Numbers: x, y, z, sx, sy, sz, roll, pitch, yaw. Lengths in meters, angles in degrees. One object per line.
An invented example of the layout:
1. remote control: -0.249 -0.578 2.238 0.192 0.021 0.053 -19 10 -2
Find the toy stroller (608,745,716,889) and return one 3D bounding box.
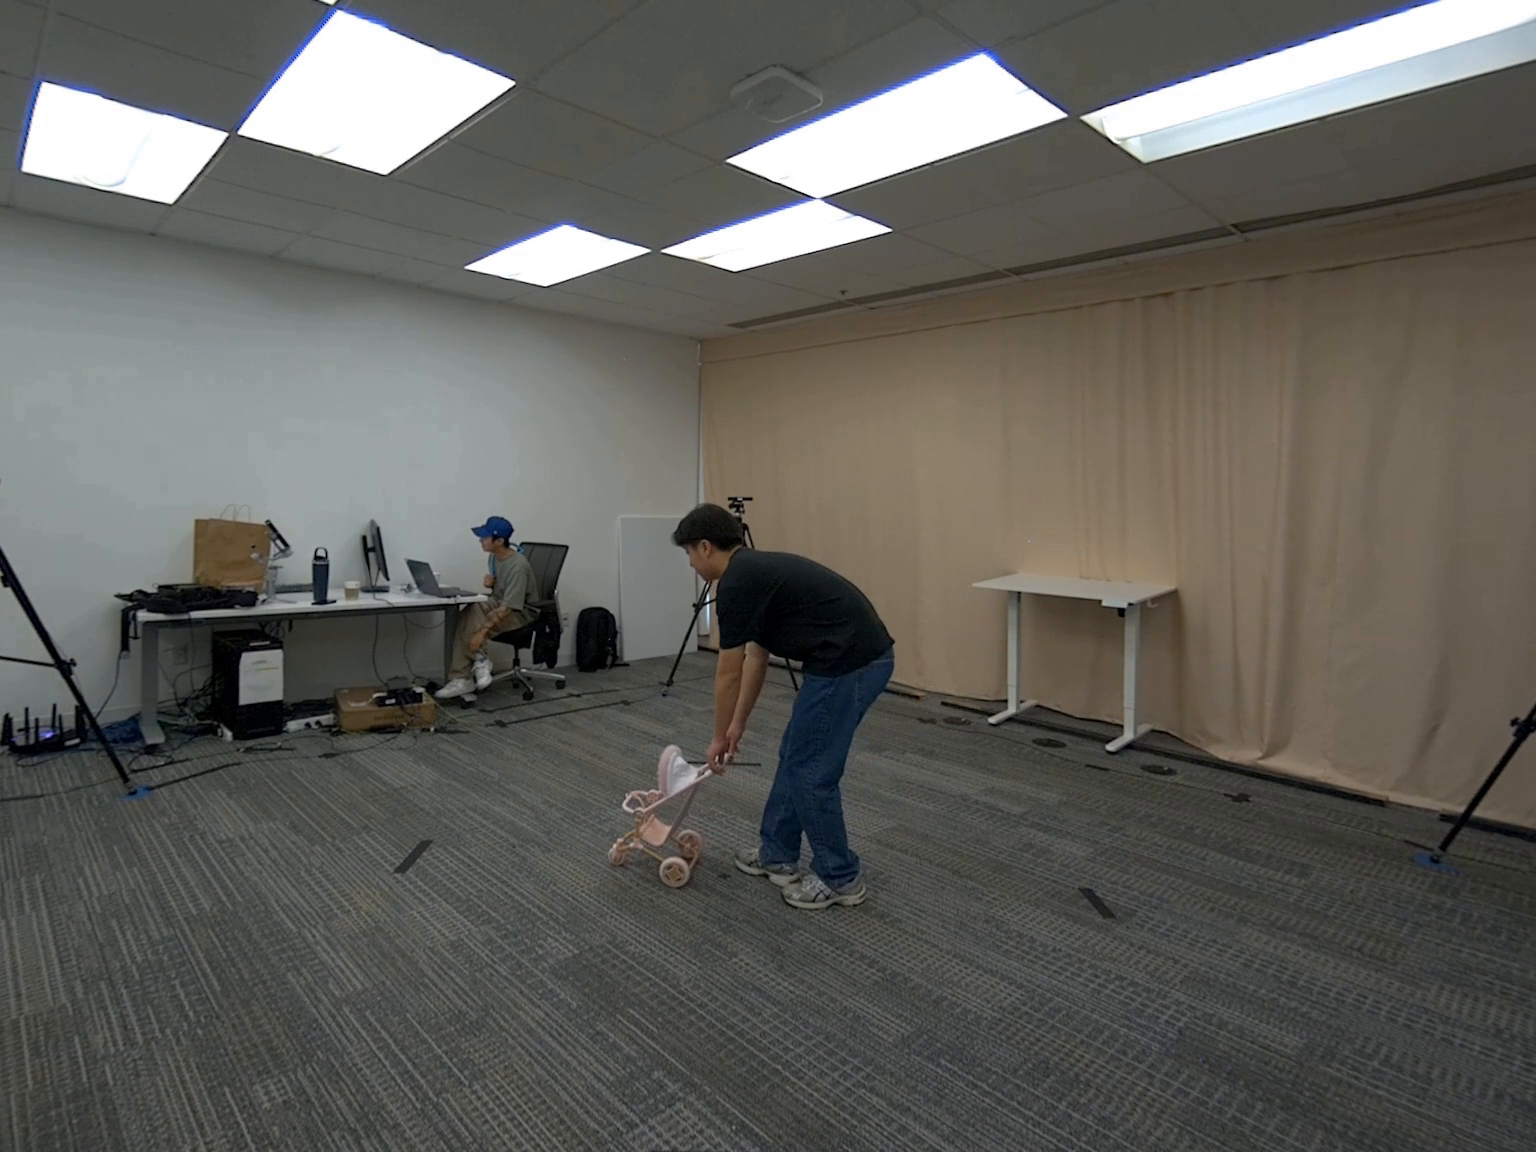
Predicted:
1. toy stroller: -0.386 0.876 3.130 0.346 0.533 0.279 18 8 12
